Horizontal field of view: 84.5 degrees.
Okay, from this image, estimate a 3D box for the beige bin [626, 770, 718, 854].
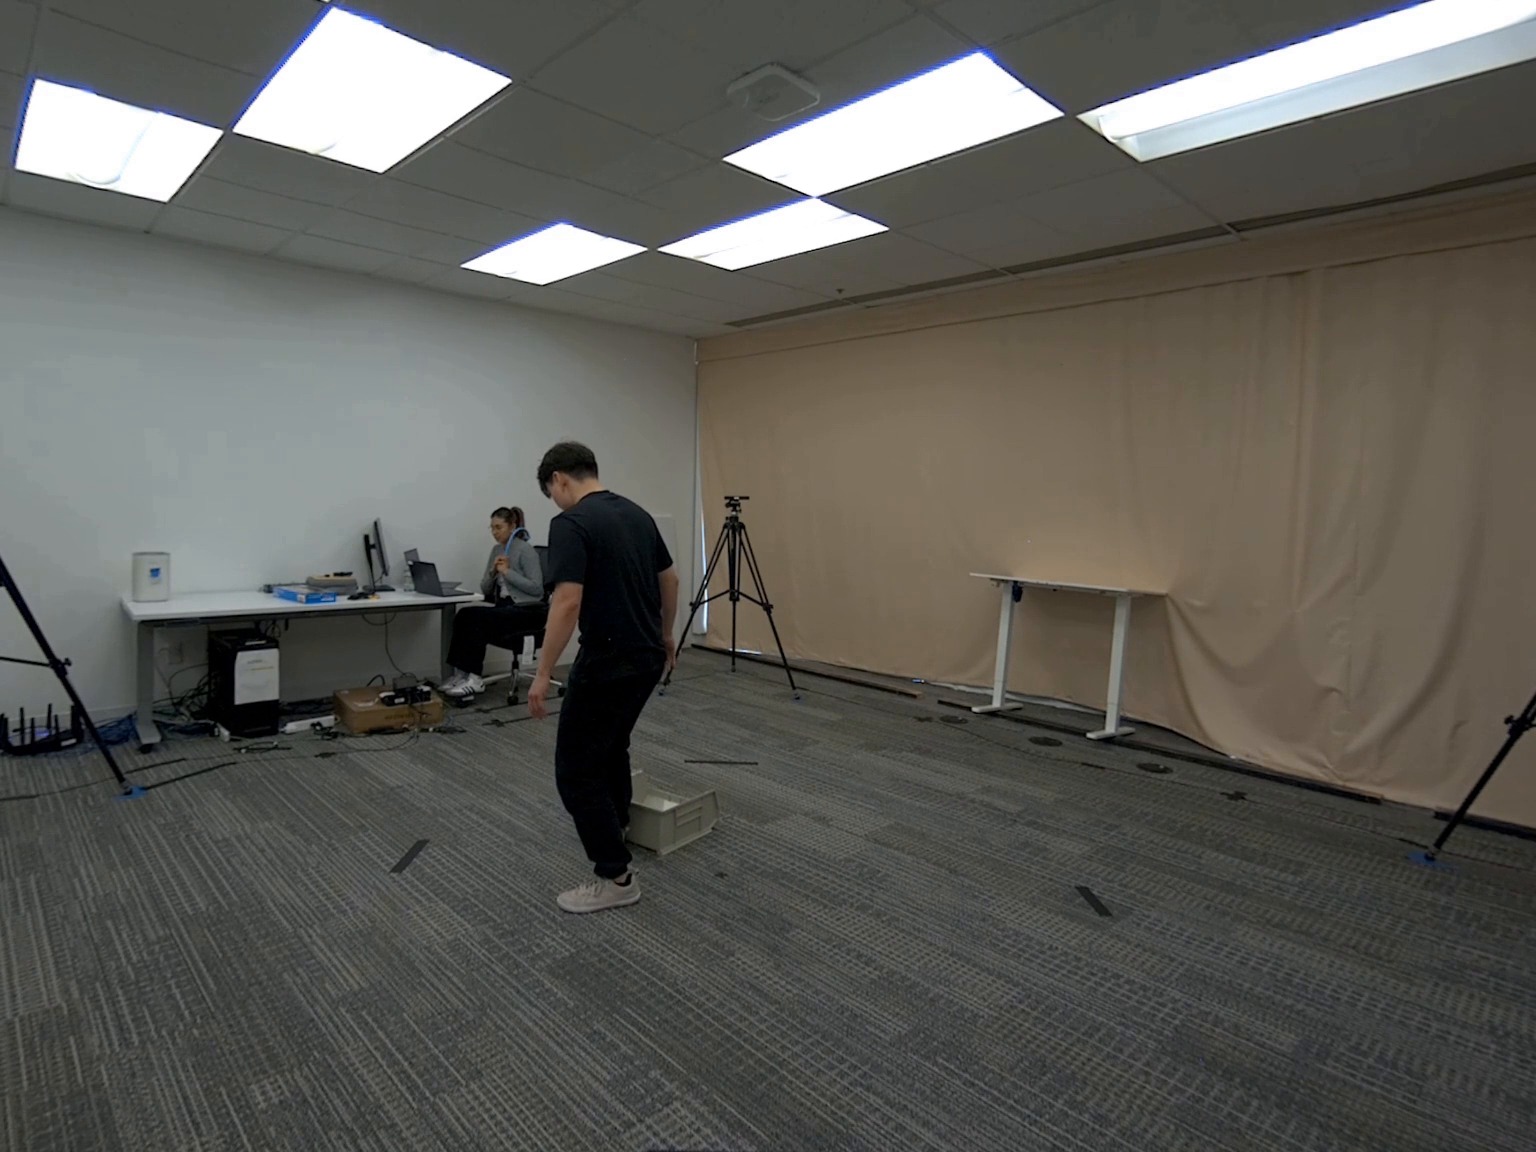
[{"bbox_3d":[-0.483,0.972,3.517,0.432,0.188,0.370,6,7,34],"label":"beige bin"}]
